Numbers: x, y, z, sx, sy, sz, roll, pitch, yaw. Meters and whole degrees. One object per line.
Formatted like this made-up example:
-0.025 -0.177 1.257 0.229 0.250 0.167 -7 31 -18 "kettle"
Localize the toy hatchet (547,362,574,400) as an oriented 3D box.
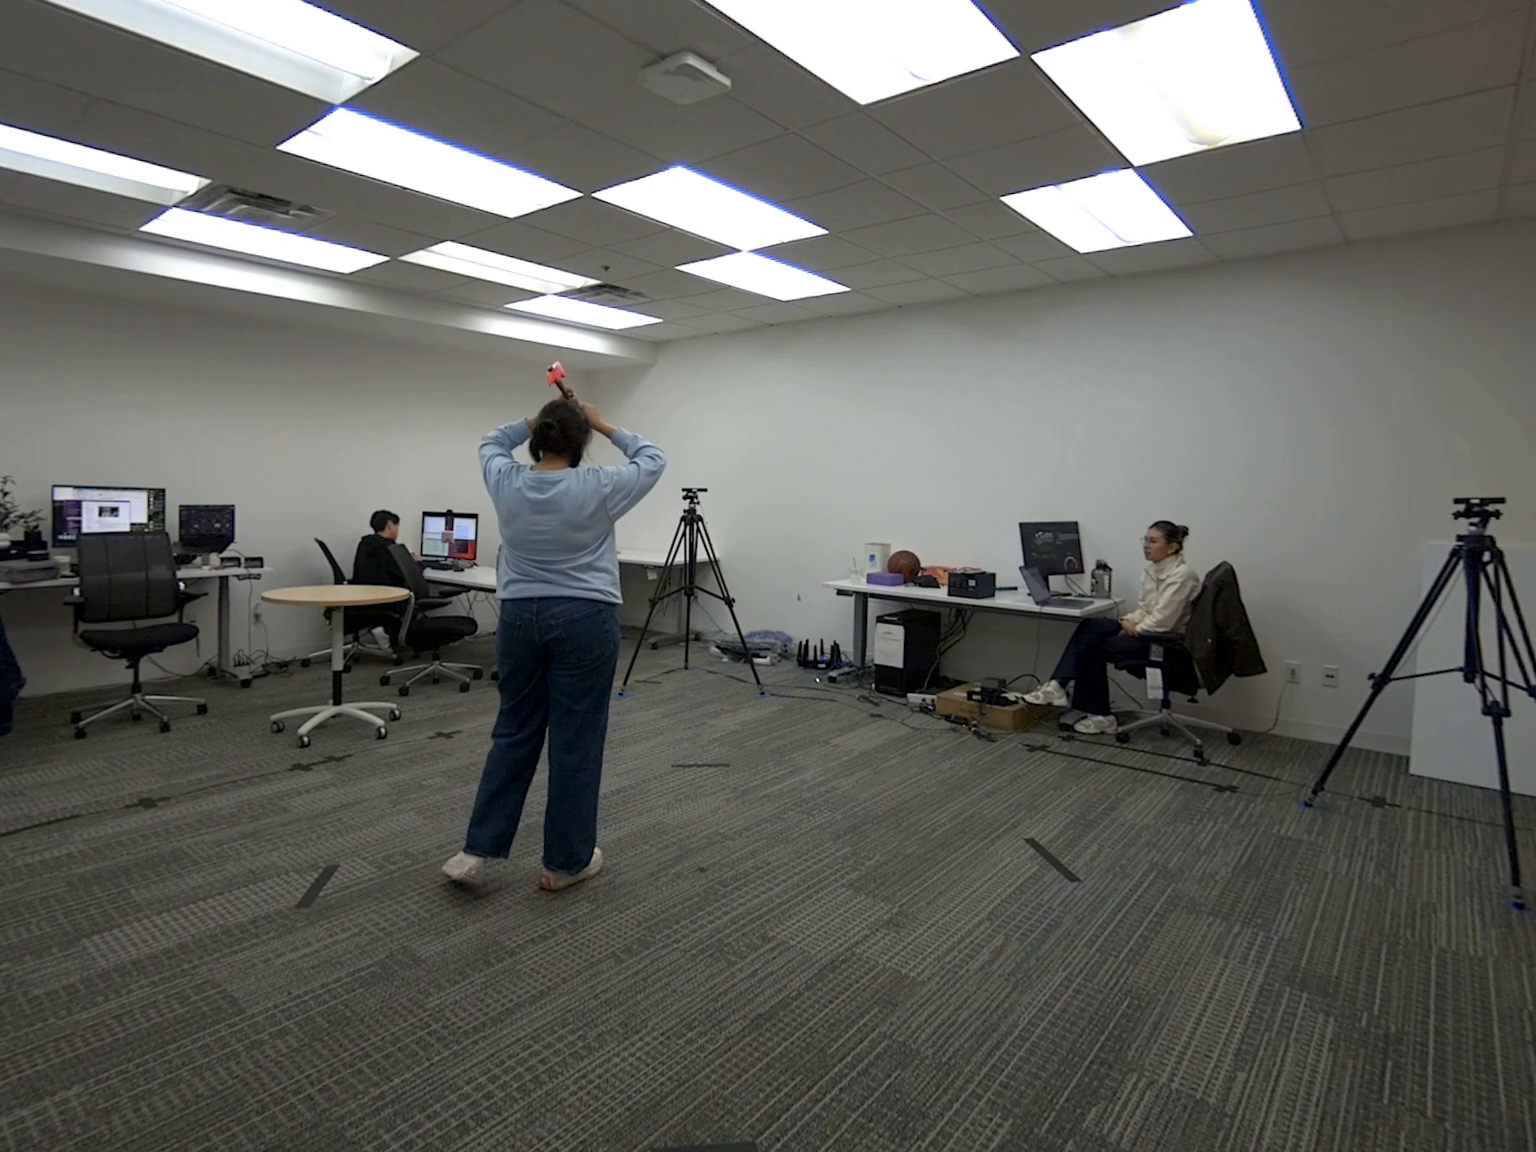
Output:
-0.730 -0.673 3.040 0.030 0.134 0.260 -14 -26 12 "toy hatchet"
